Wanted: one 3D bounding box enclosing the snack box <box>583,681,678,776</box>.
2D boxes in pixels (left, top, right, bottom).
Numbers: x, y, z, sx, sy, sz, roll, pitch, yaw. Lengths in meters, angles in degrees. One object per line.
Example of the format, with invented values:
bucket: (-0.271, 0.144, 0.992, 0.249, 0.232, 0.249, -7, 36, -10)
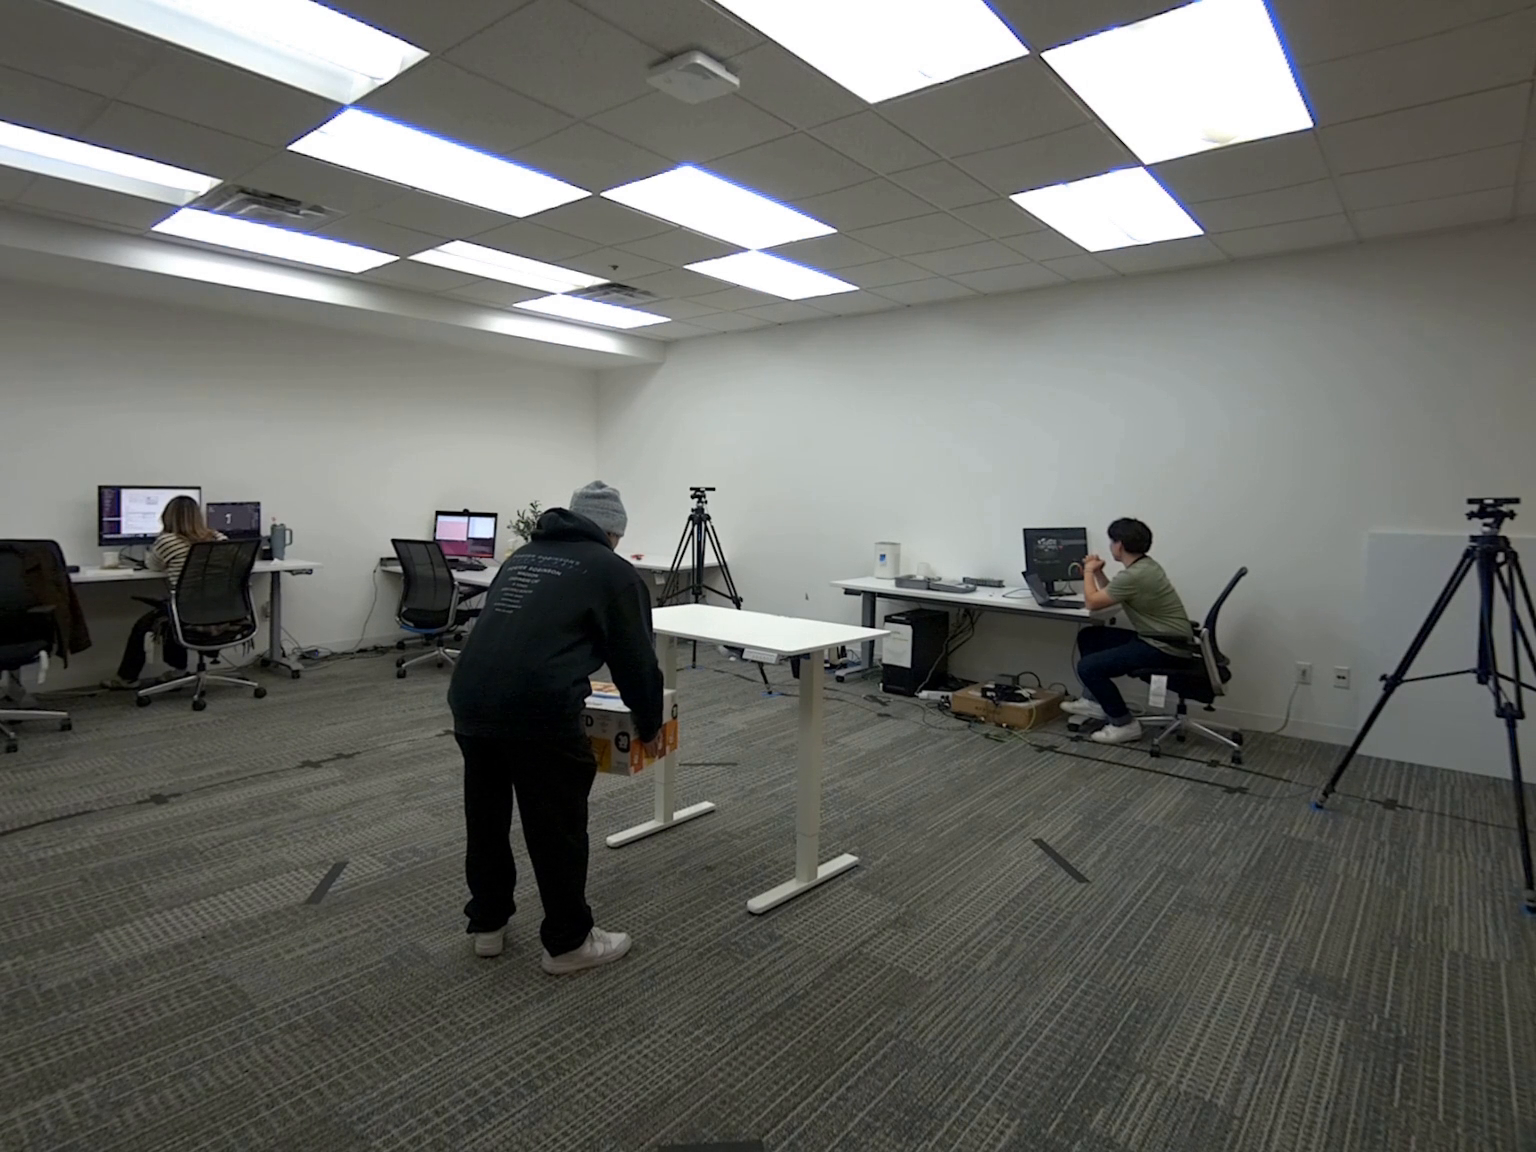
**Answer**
snack box: (-0.566, 0.491, 2.807, 0.414, 0.205, 0.333, 2, 3, 21)
